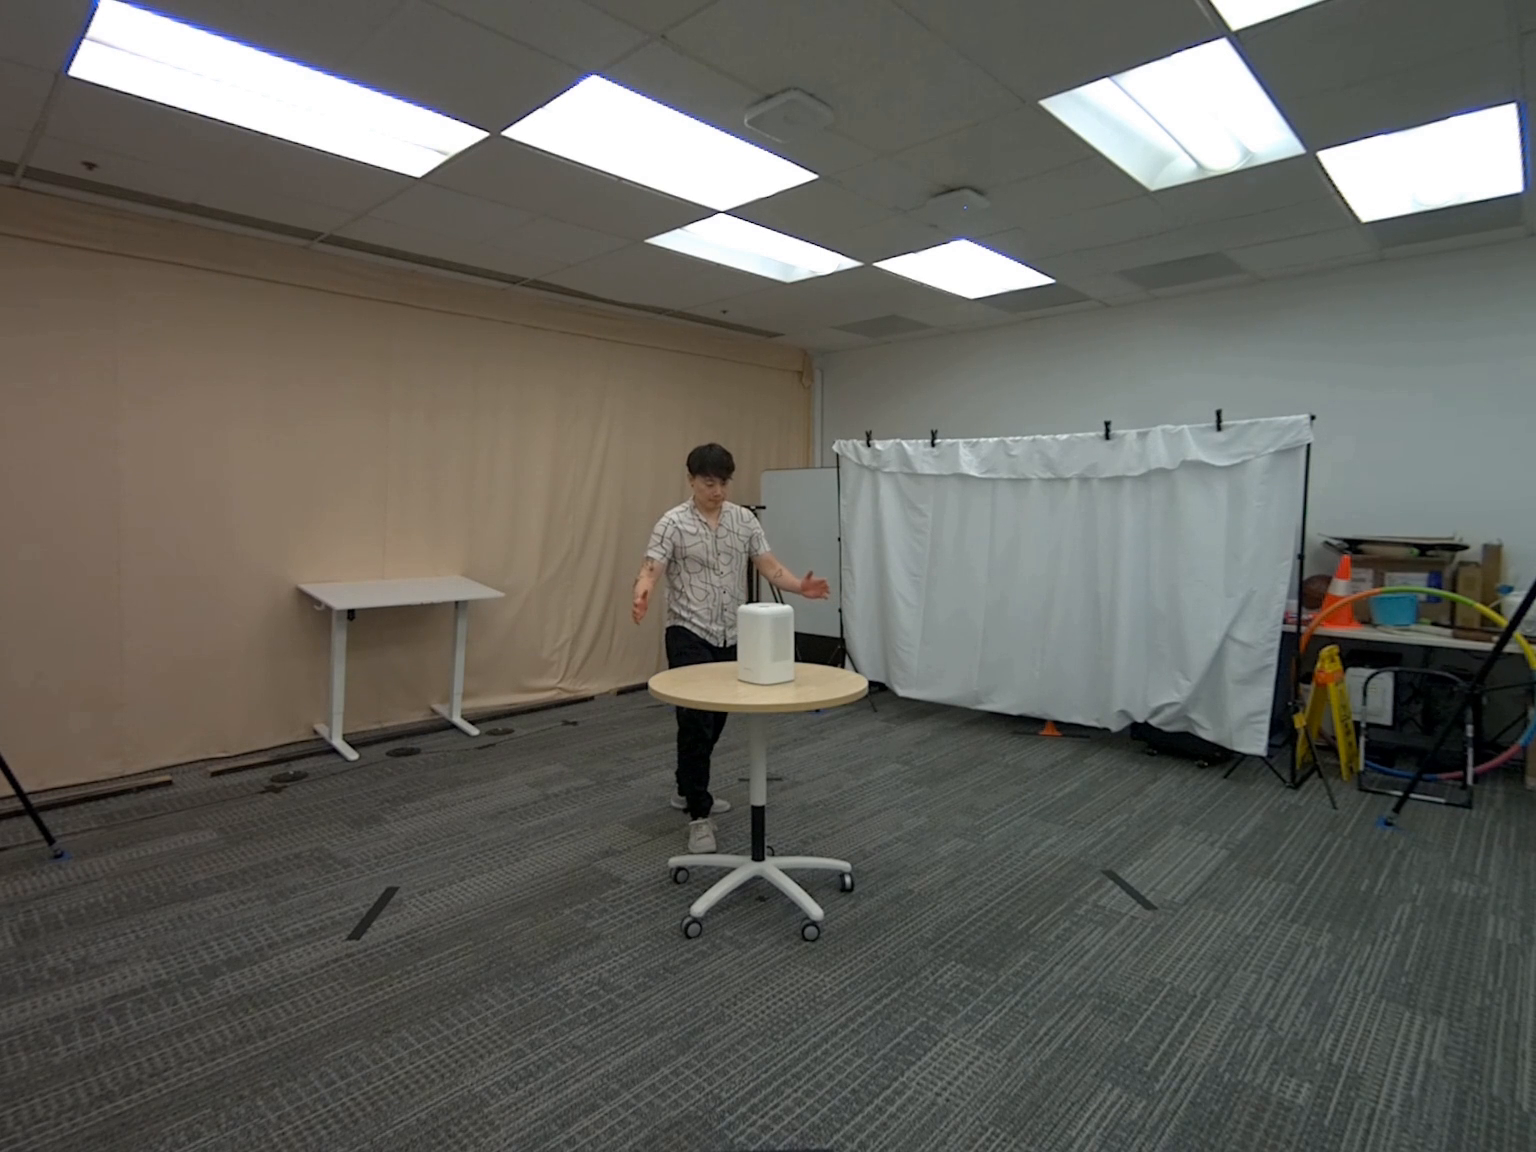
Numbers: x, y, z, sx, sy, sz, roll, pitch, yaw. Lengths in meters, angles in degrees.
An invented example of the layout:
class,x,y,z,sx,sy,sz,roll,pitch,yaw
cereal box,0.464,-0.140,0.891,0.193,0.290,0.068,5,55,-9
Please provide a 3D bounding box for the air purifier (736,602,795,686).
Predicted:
class,x,y,z,sx,sy,sz,roll,pitch,yaw
air purifier,-0.003,0.230,2.948,0.166,0.265,0.177,-4,5,-39
